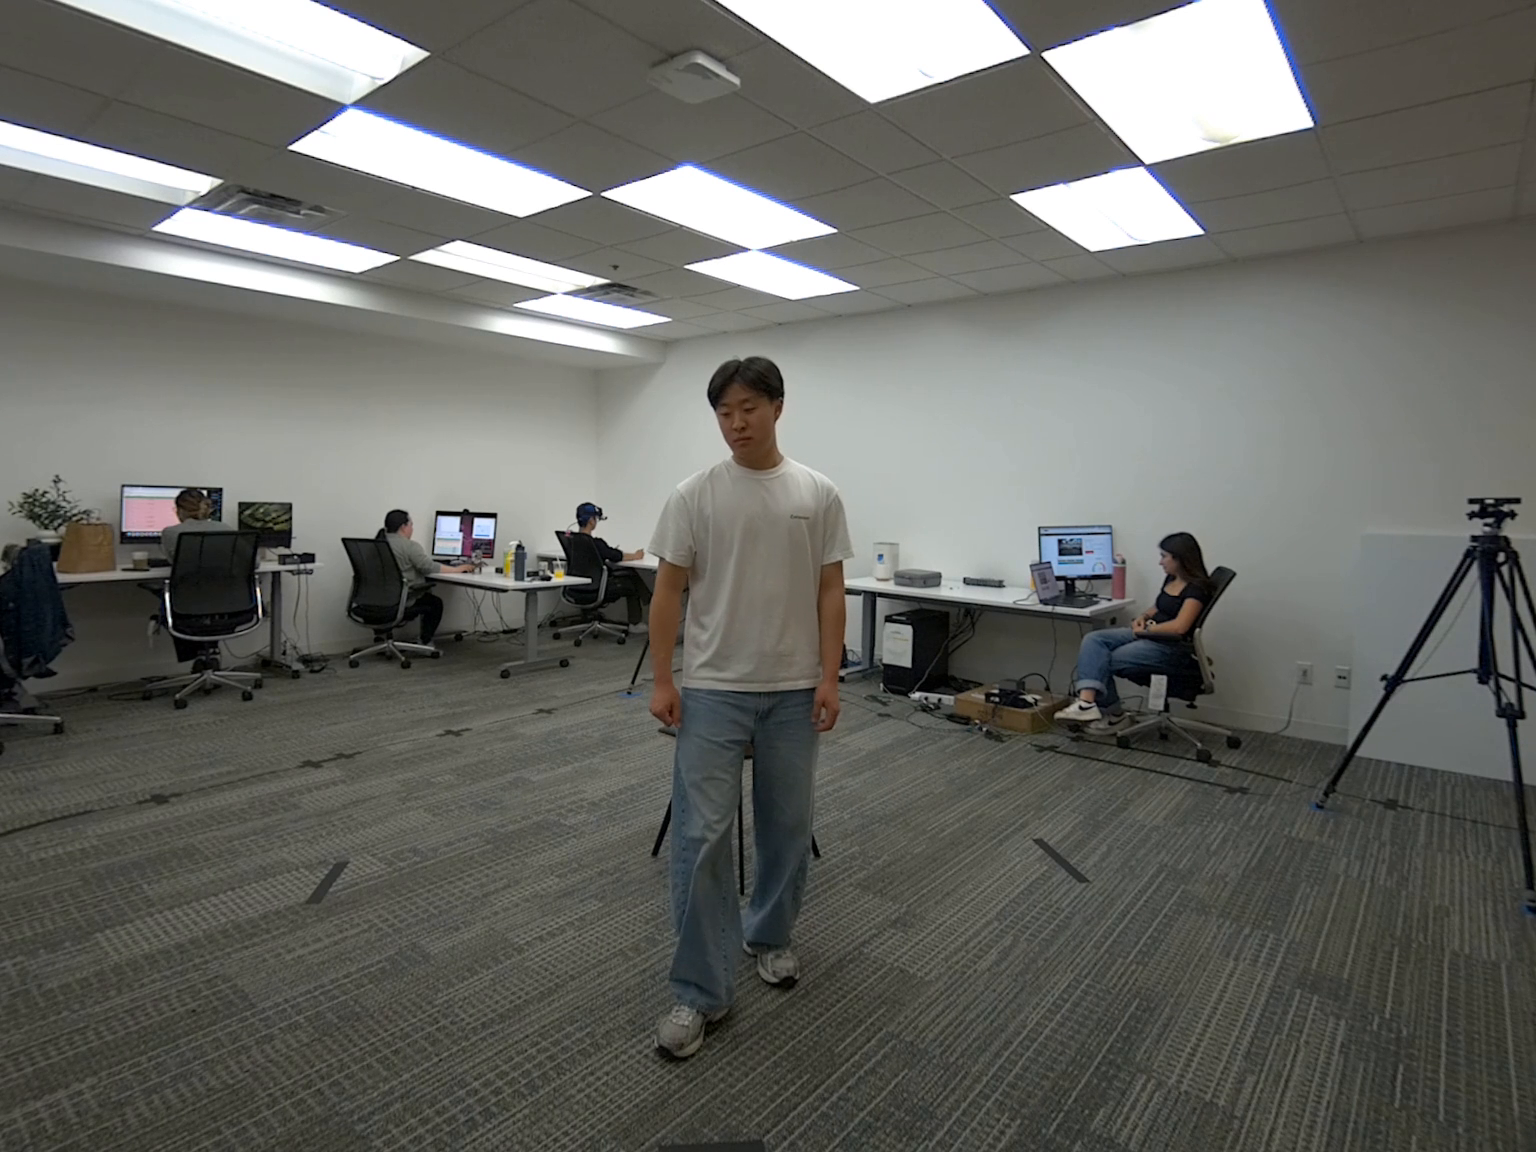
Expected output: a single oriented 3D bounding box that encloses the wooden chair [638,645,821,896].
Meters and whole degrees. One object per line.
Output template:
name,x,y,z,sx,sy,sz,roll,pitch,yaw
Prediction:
wooden chair,-0.123,0.629,3.191,0.542,0.872,0.464,10,8,40
